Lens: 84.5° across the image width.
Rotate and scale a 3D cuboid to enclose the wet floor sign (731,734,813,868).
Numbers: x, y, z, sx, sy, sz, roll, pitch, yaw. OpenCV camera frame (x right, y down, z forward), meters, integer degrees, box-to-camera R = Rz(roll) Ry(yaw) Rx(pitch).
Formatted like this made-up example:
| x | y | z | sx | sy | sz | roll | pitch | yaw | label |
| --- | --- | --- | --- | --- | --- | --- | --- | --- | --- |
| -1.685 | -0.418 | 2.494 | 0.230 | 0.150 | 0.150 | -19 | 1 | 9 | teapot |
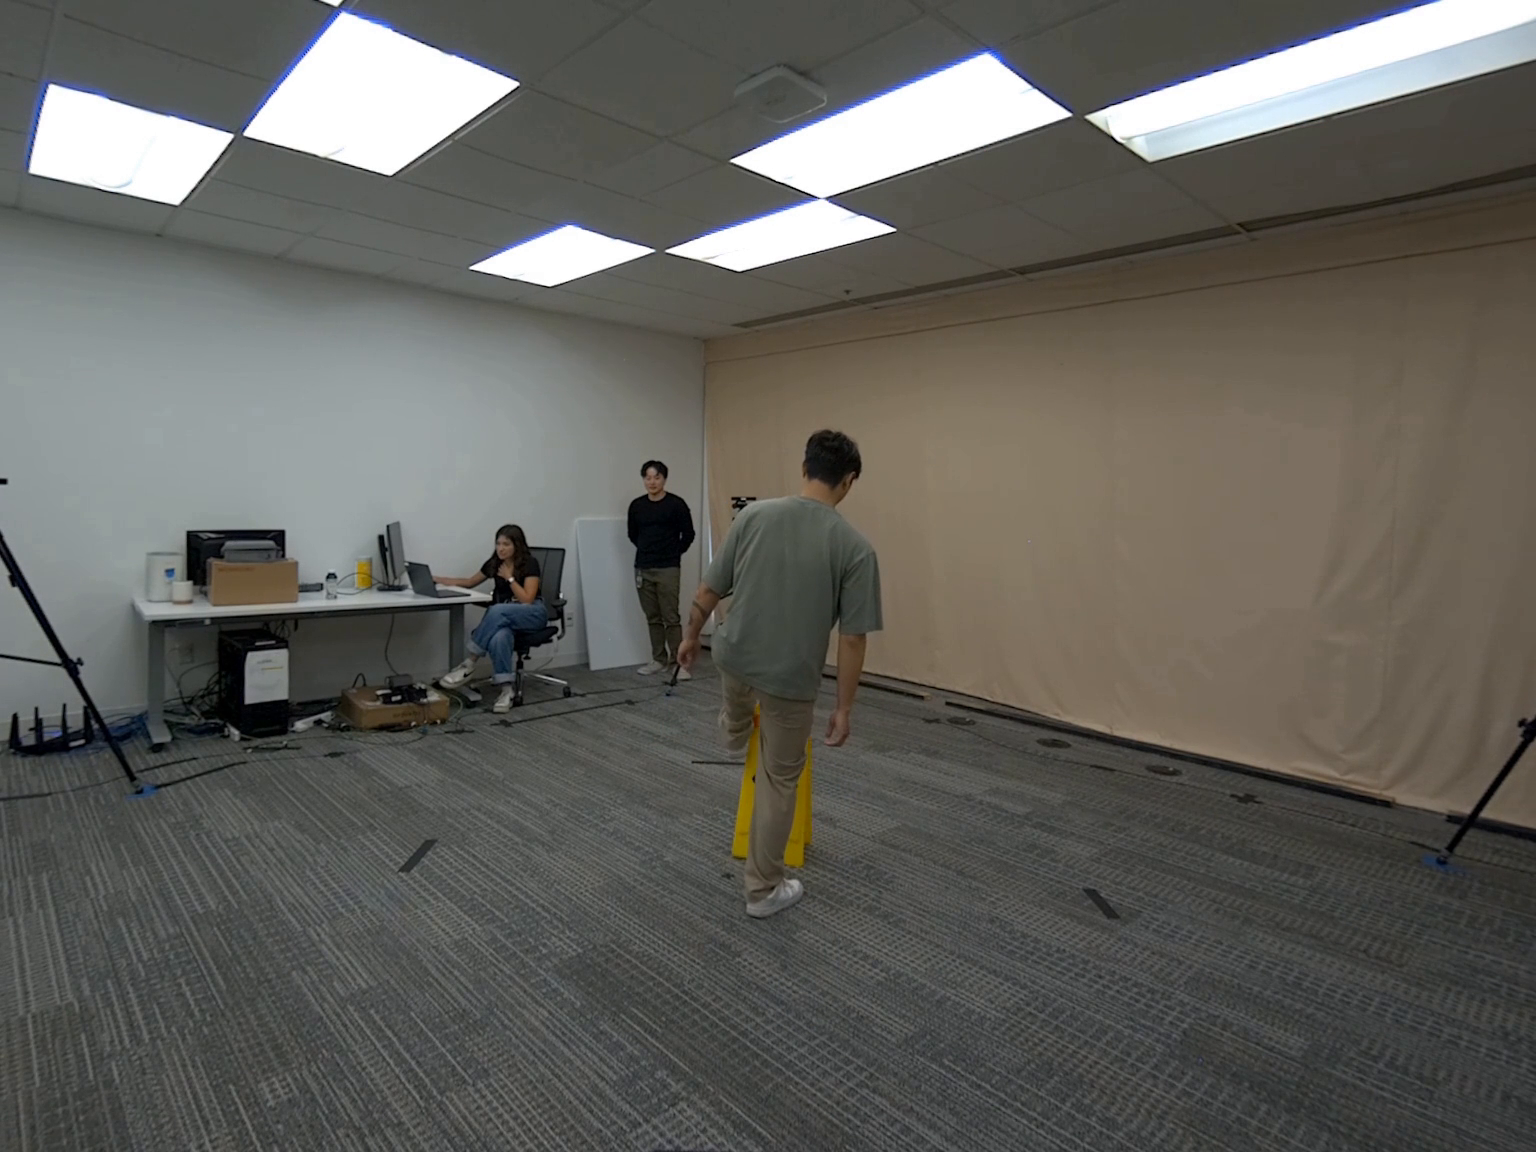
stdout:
| x | y | z | sx | sy | sz | roll | pitch | yaw | label |
| --- | --- | --- | --- | --- | --- | --- | --- | --- | --- |
| 0.039 | 0.770 | 3.325 | 0.285 | 0.645 | 0.287 | 7 | 2 | 12 | wet floor sign |
